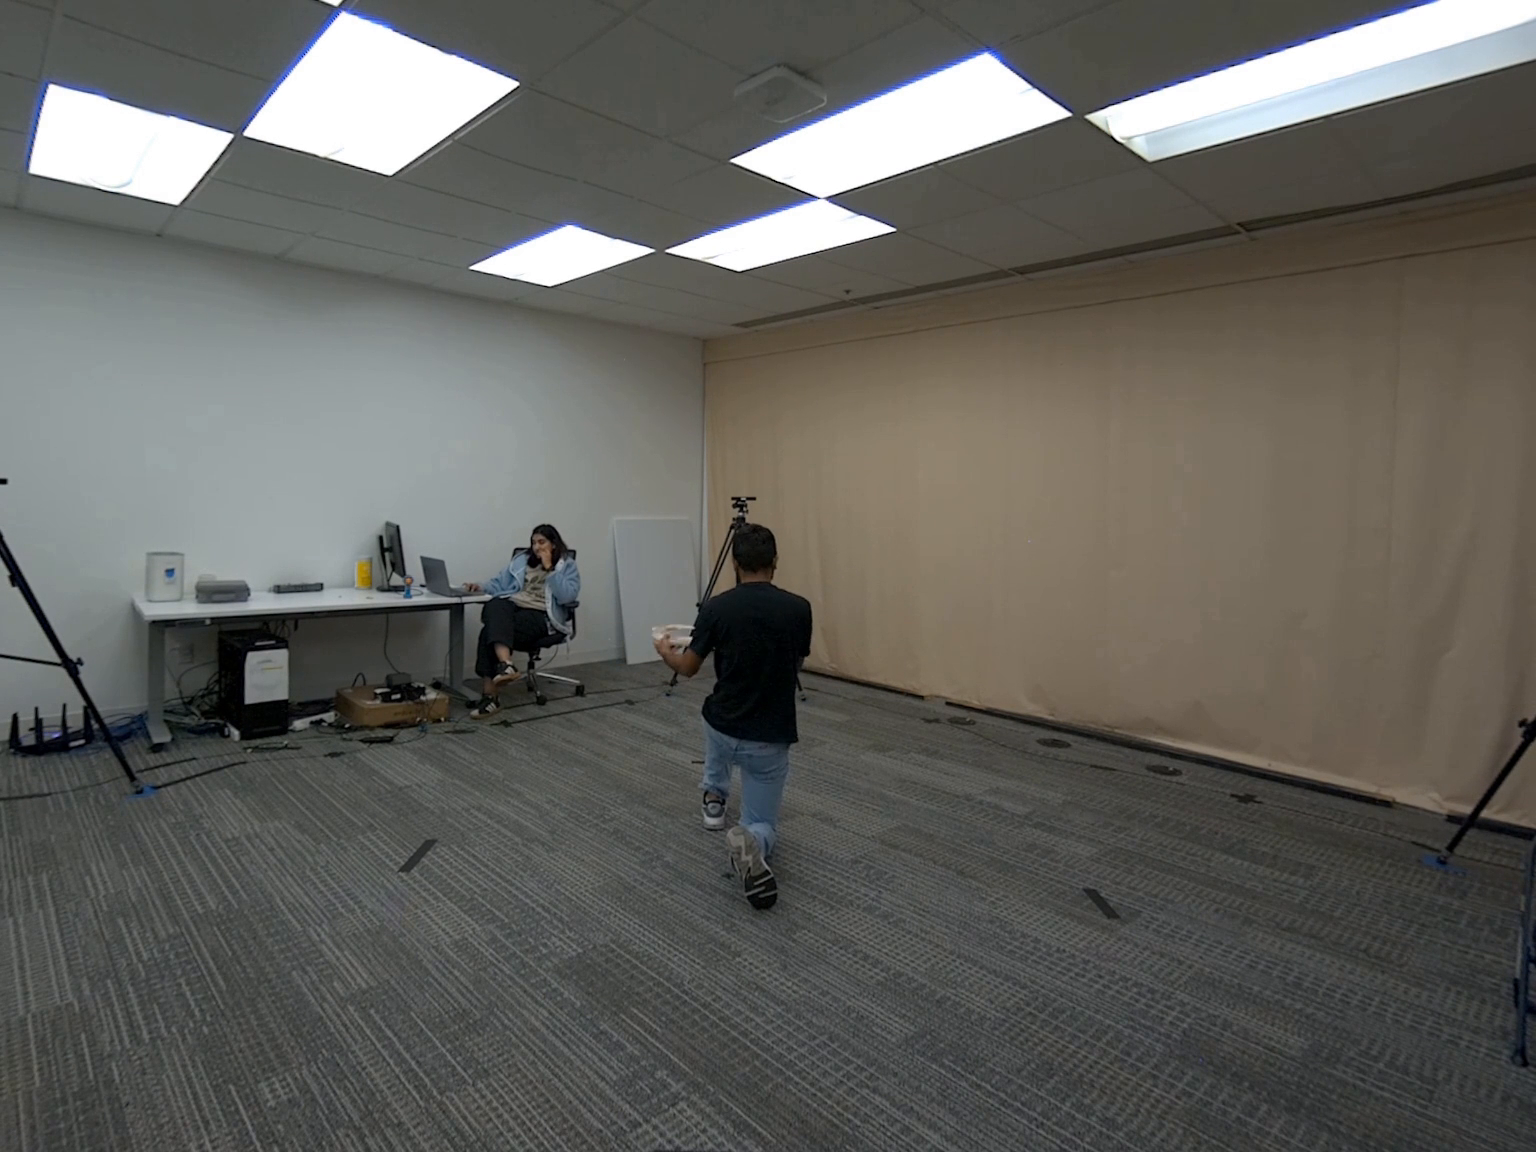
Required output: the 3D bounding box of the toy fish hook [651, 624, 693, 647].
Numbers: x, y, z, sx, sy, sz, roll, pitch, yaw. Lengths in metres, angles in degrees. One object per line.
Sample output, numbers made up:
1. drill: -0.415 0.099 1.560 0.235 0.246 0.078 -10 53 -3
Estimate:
1. toy fish hook: -0.258 0.272 3.802 0.502 0.048 0.229 4 20 -10
